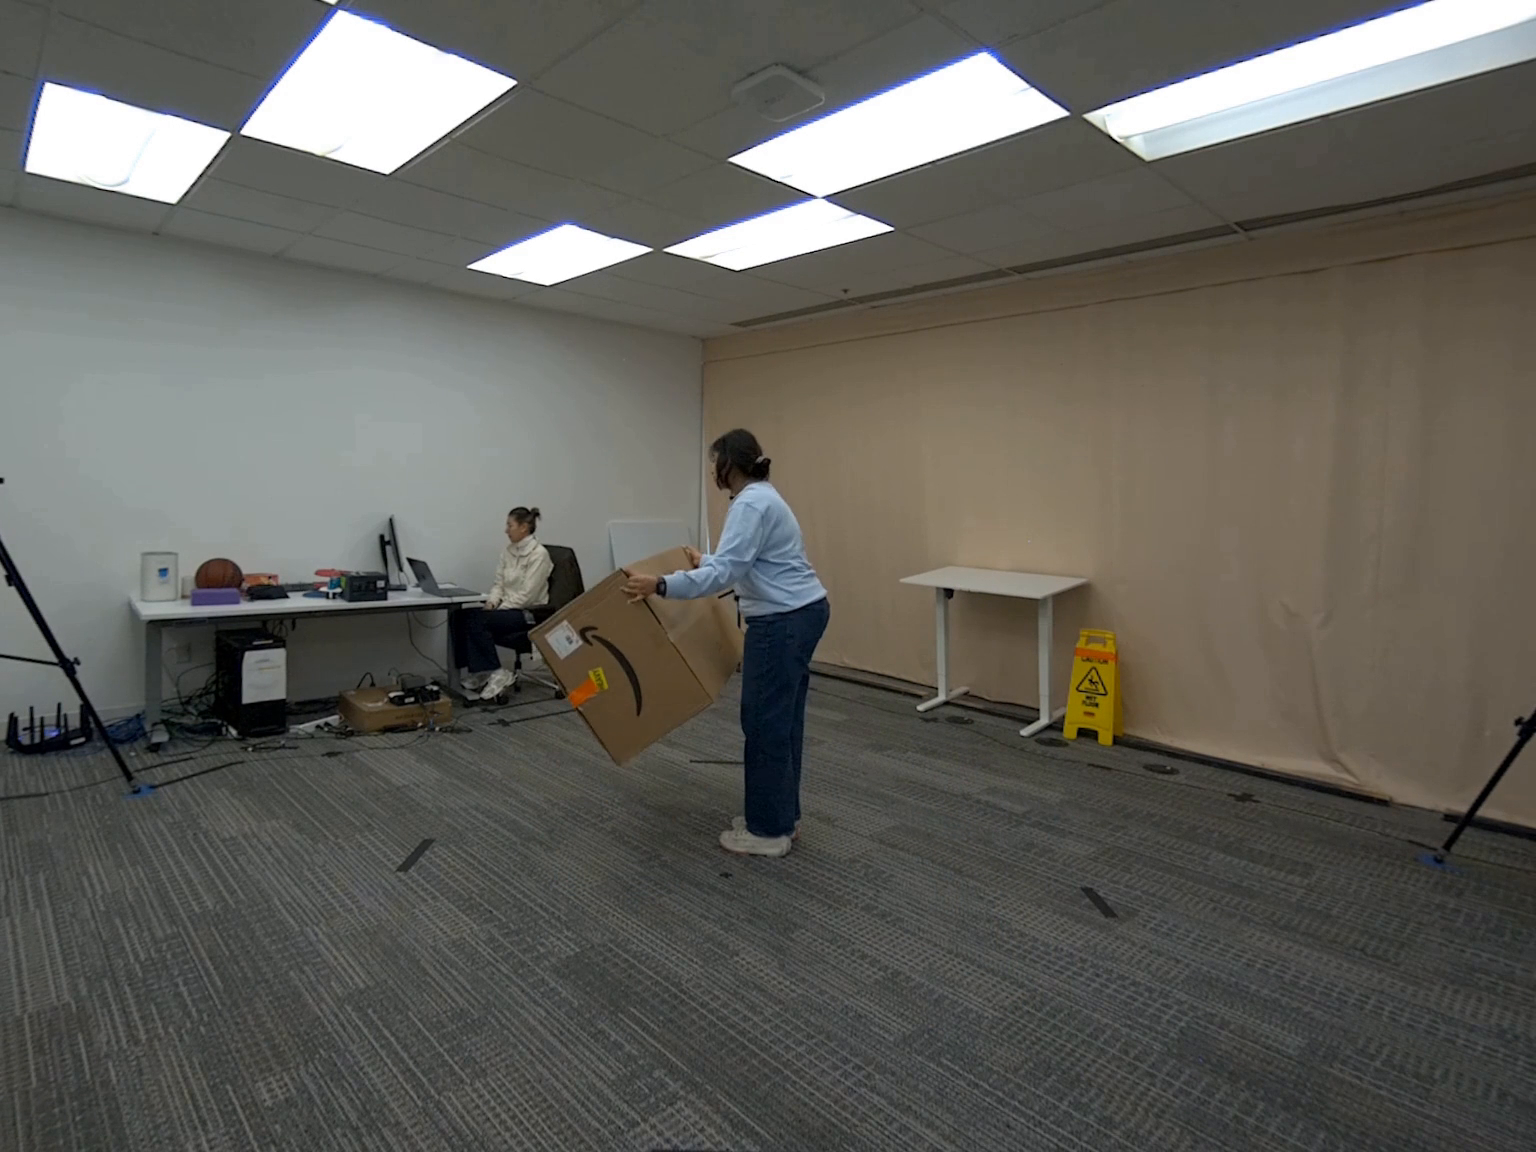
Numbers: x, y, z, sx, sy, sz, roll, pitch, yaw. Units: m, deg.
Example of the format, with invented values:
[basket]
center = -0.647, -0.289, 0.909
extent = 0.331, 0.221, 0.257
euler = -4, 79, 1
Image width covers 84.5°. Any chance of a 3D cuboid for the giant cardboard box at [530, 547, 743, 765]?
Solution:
[giant cardboard box]
center = -0.471, 0.268, 3.447
extent = 0.427, 0.578, 1.023
euler = -36, 1, 9
